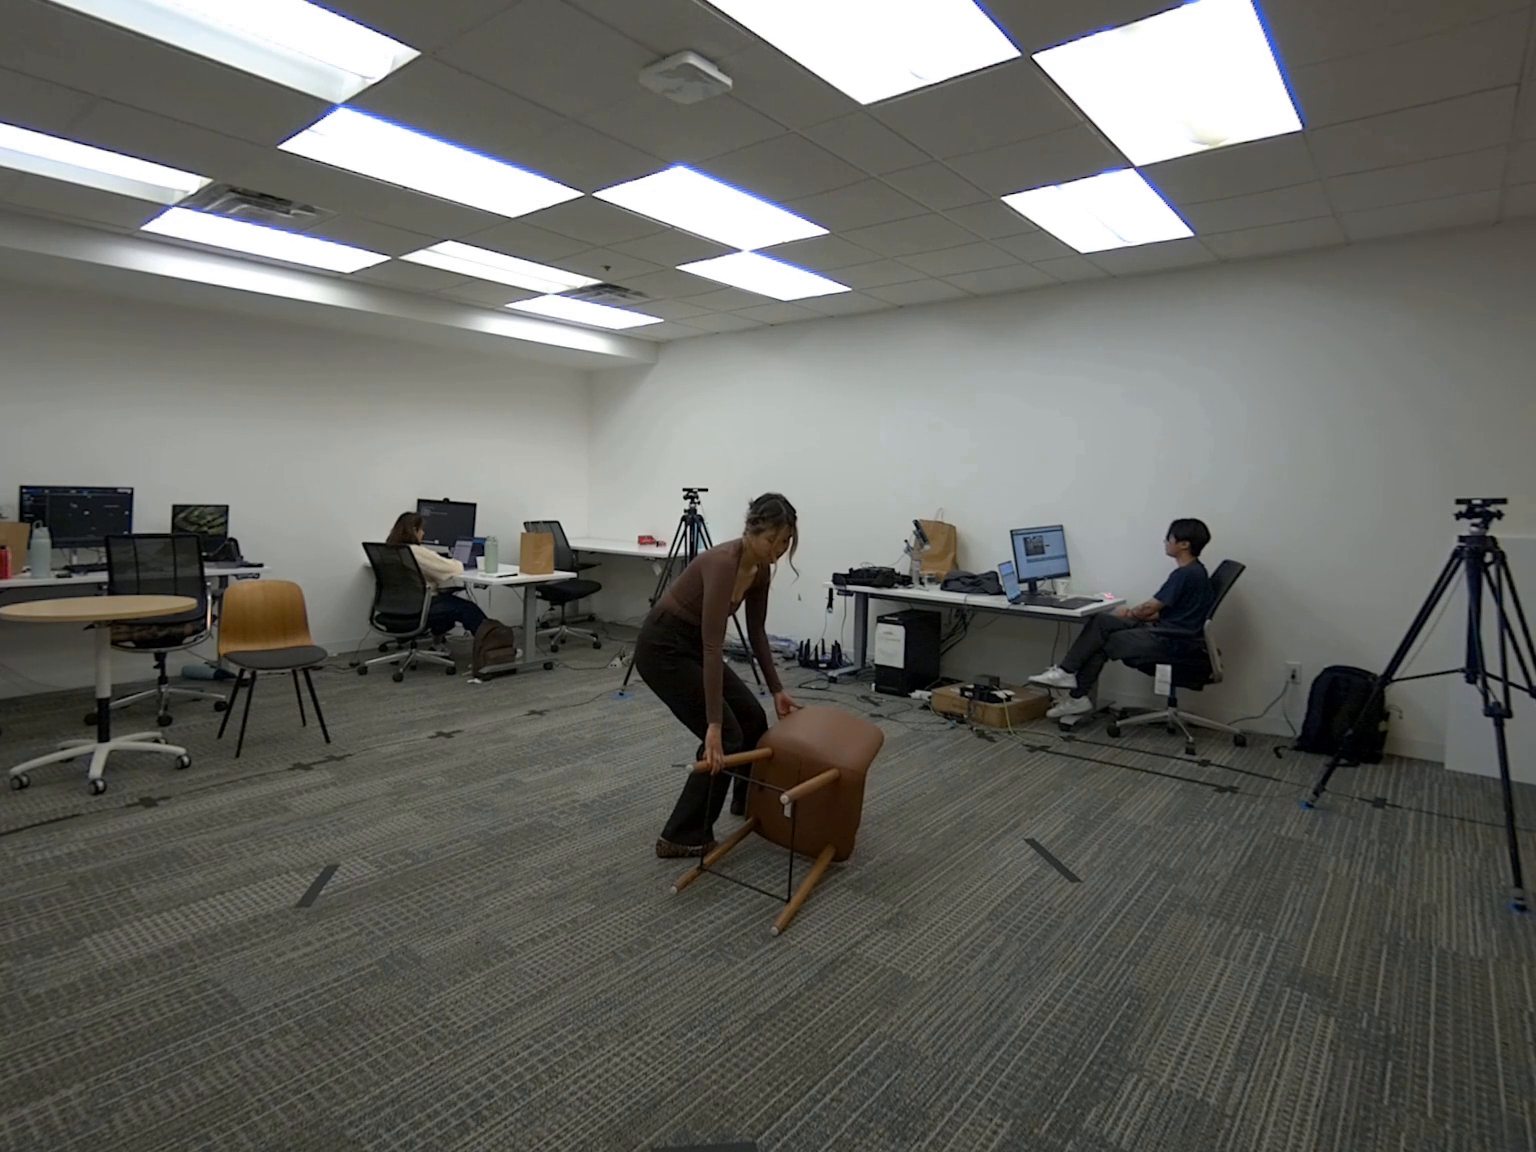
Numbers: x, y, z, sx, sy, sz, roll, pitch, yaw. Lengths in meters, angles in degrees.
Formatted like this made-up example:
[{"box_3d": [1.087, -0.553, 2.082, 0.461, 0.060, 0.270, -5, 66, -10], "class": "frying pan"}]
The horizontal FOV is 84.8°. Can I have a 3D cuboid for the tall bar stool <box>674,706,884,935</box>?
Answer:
[{"box_3d": [0.070, 0.824, 3.095, 0.470, 0.464, 0.870, 9, 11, 27], "class": "tall bar stool"}]
